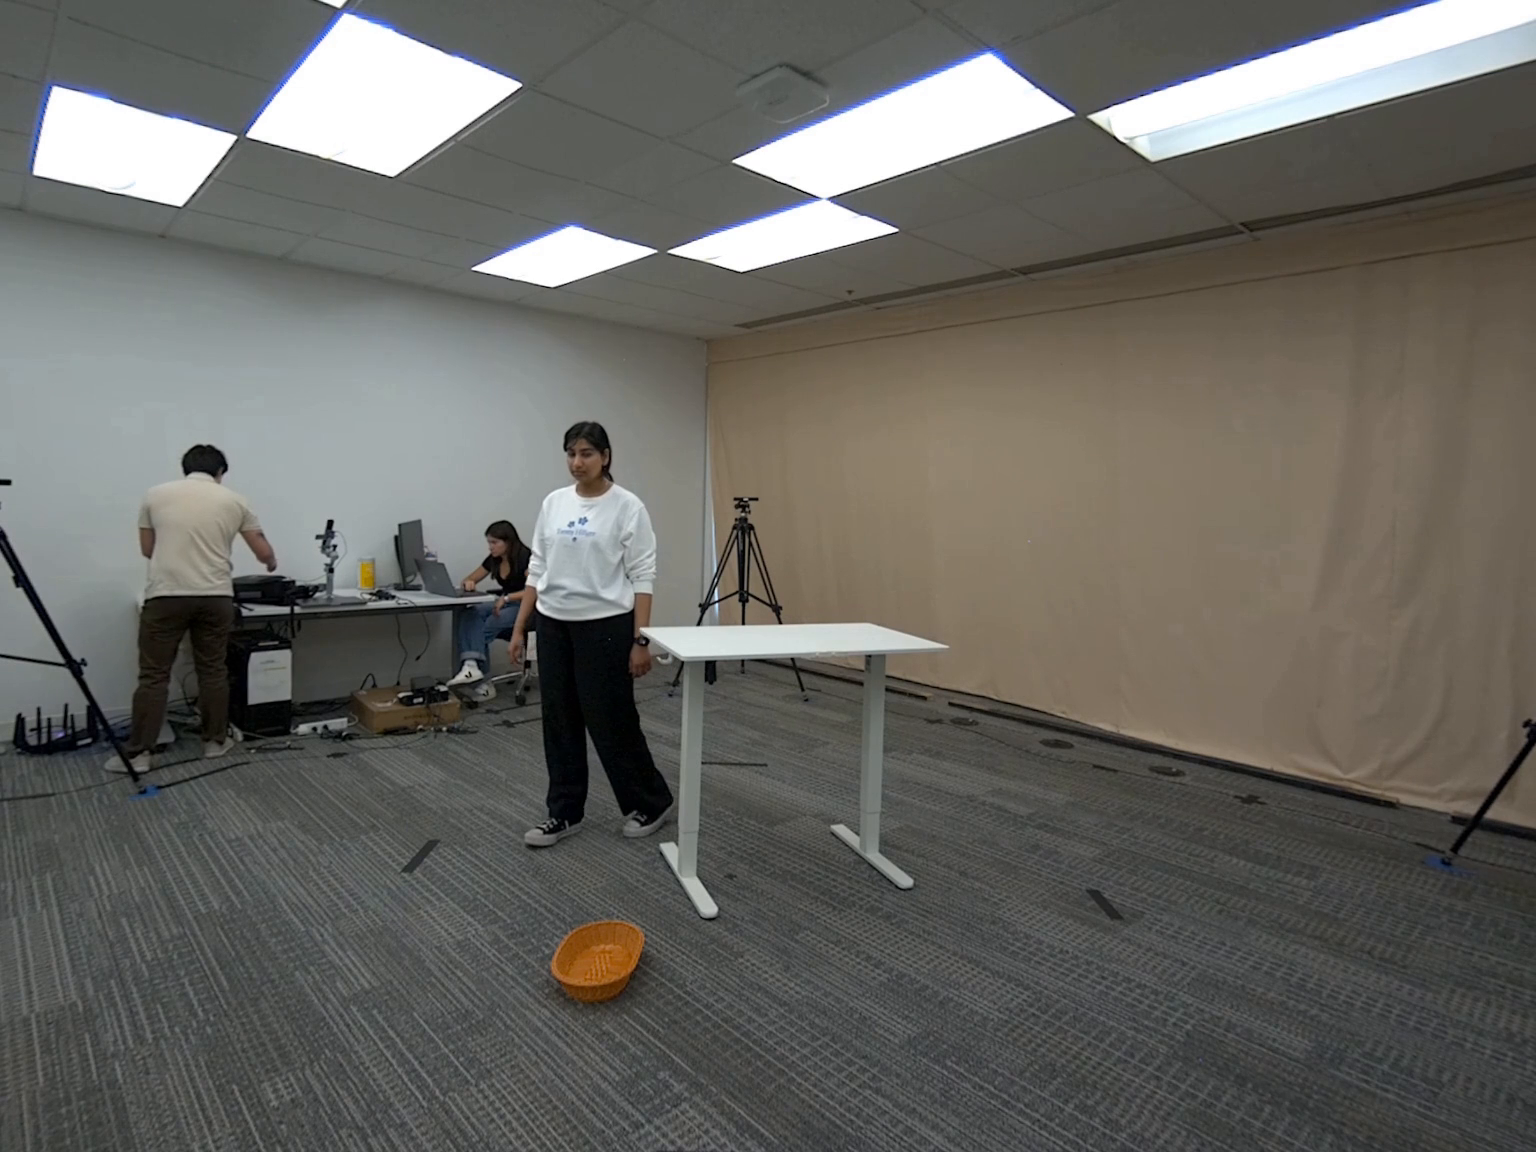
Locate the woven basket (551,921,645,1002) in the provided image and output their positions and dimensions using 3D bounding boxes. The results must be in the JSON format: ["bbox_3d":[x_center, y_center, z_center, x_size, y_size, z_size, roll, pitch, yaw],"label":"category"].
[{"bbox_3d":[-0.497,1.123,2.444,0.253,0.073,0.350,0,5,5],"label":"woven basket"}]
